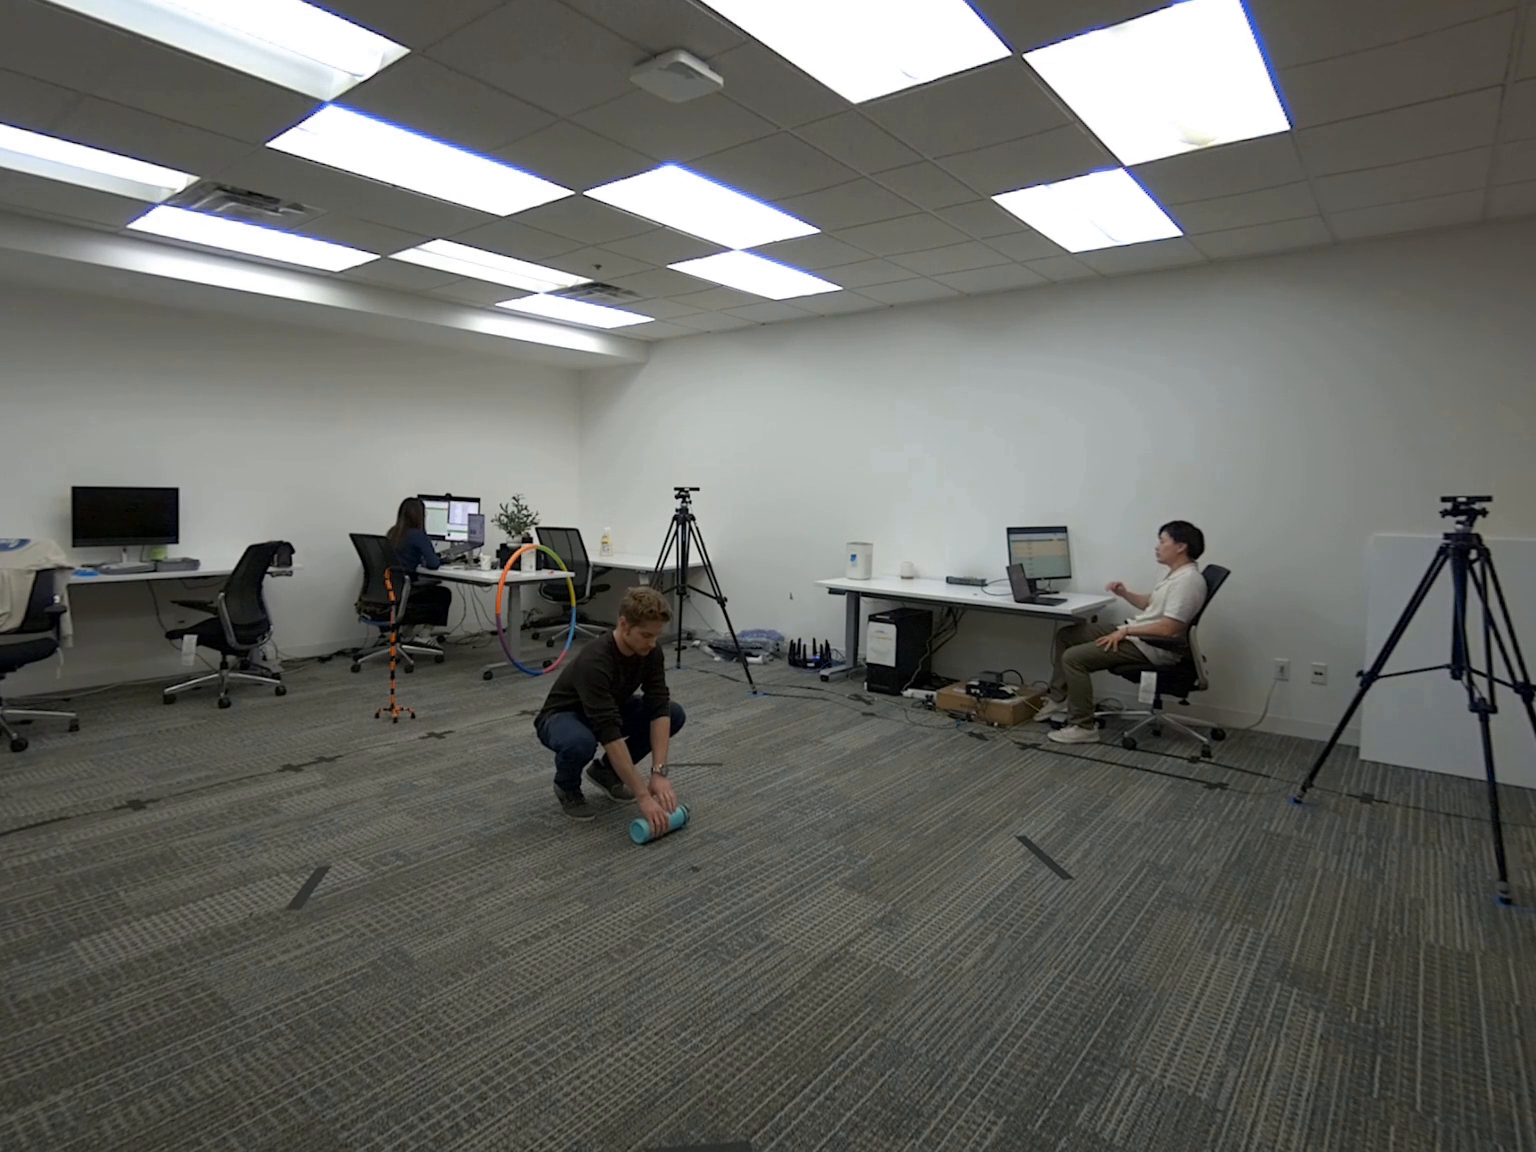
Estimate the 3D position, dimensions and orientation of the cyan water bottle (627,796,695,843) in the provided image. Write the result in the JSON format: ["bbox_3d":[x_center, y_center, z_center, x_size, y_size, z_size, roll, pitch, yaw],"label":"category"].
[{"bbox_3d":[-0.432,0.982,3.408,0.095,0.092,0.275,4,5,41],"label":"cyan water bottle"}]
